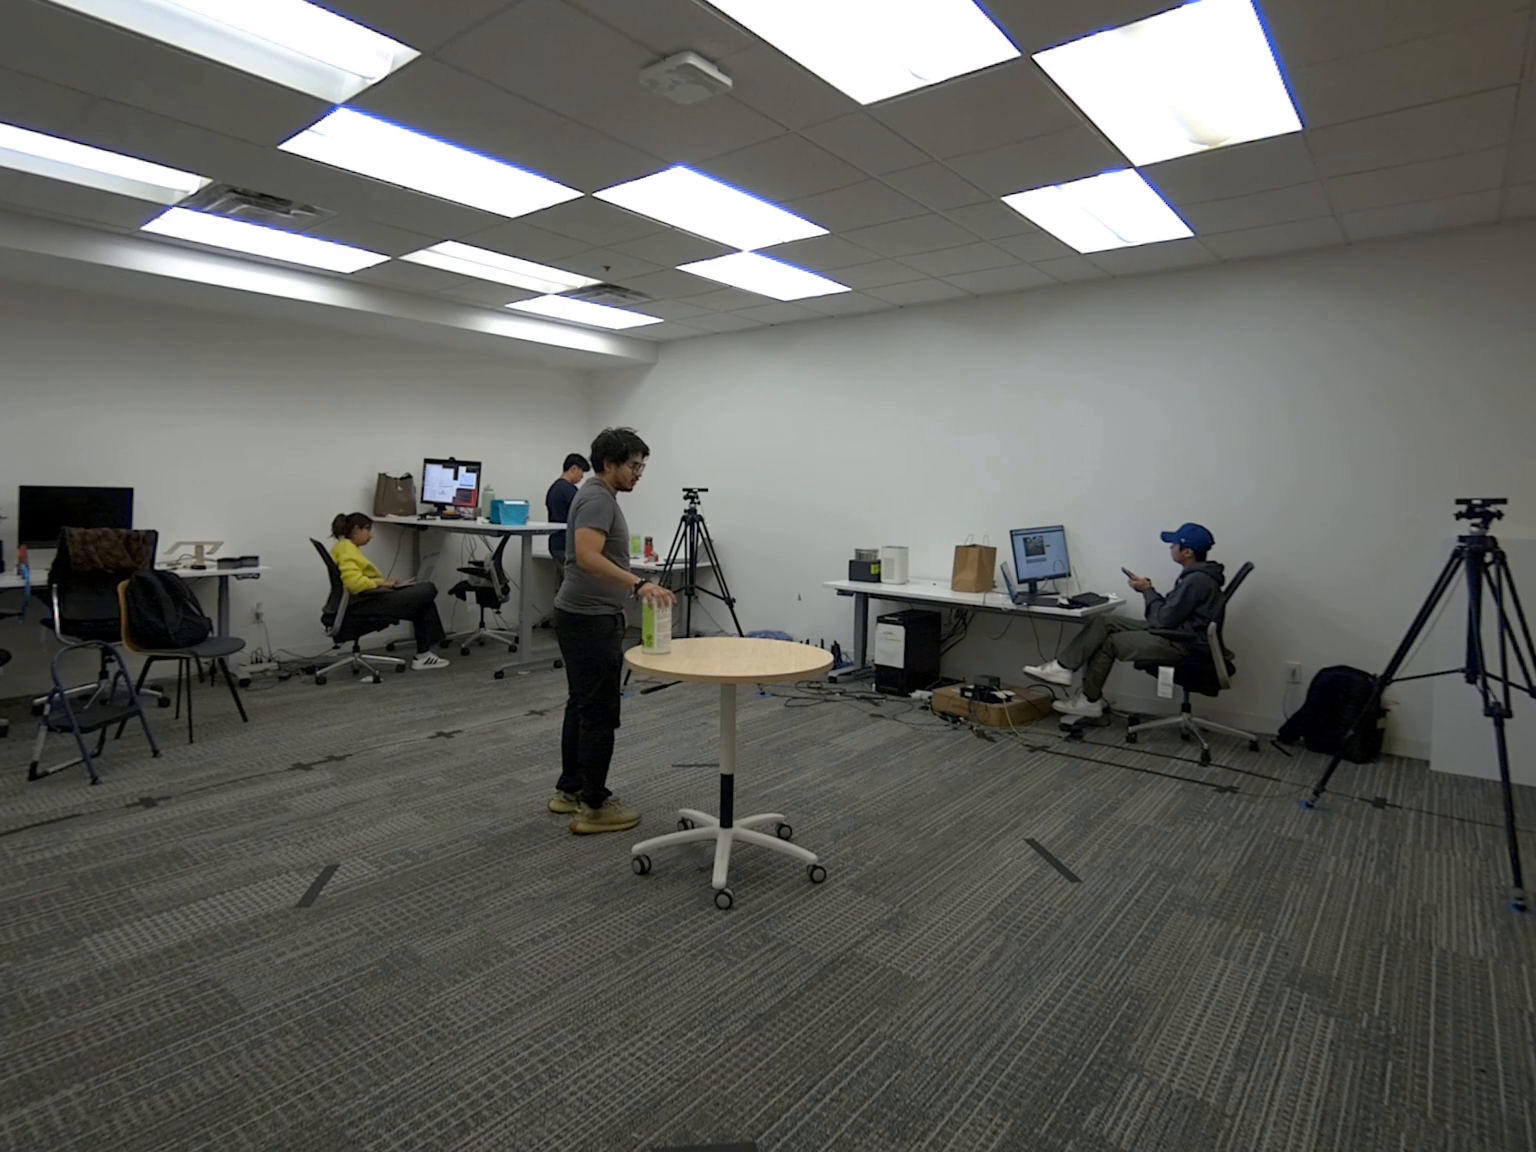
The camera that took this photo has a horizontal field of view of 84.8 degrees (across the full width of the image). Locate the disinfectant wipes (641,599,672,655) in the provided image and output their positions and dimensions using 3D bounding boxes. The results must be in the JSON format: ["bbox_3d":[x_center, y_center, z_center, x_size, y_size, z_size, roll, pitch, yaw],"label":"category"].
[{"bbox_3d":[-0.418,0.174,3.154,0.118,0.217,0.118,-2,3,-2],"label":"disinfectant wipes"}]
